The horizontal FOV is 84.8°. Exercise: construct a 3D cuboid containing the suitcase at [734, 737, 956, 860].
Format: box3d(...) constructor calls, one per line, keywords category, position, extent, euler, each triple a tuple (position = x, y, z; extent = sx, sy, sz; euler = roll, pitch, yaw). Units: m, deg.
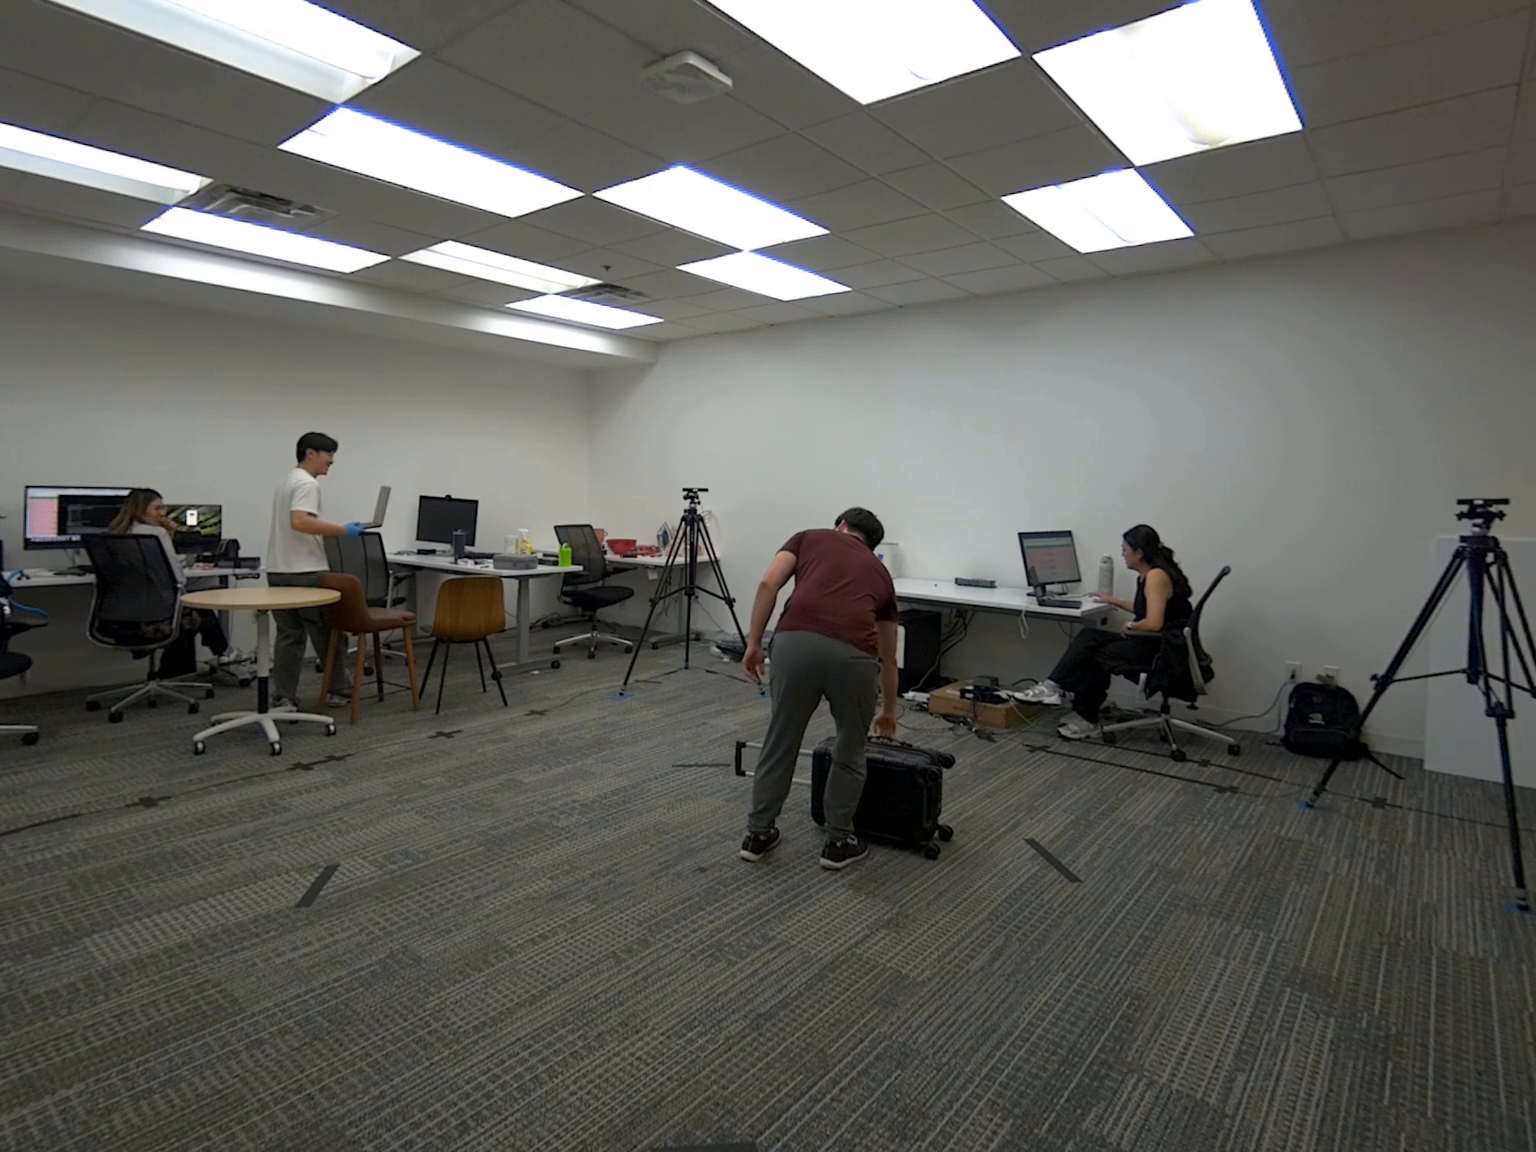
box3d(category="suitcase", position=(0.256, 0.847, 3.558), extent=(1.005, 0.383, 0.251), euler=(3, 3, 26))
